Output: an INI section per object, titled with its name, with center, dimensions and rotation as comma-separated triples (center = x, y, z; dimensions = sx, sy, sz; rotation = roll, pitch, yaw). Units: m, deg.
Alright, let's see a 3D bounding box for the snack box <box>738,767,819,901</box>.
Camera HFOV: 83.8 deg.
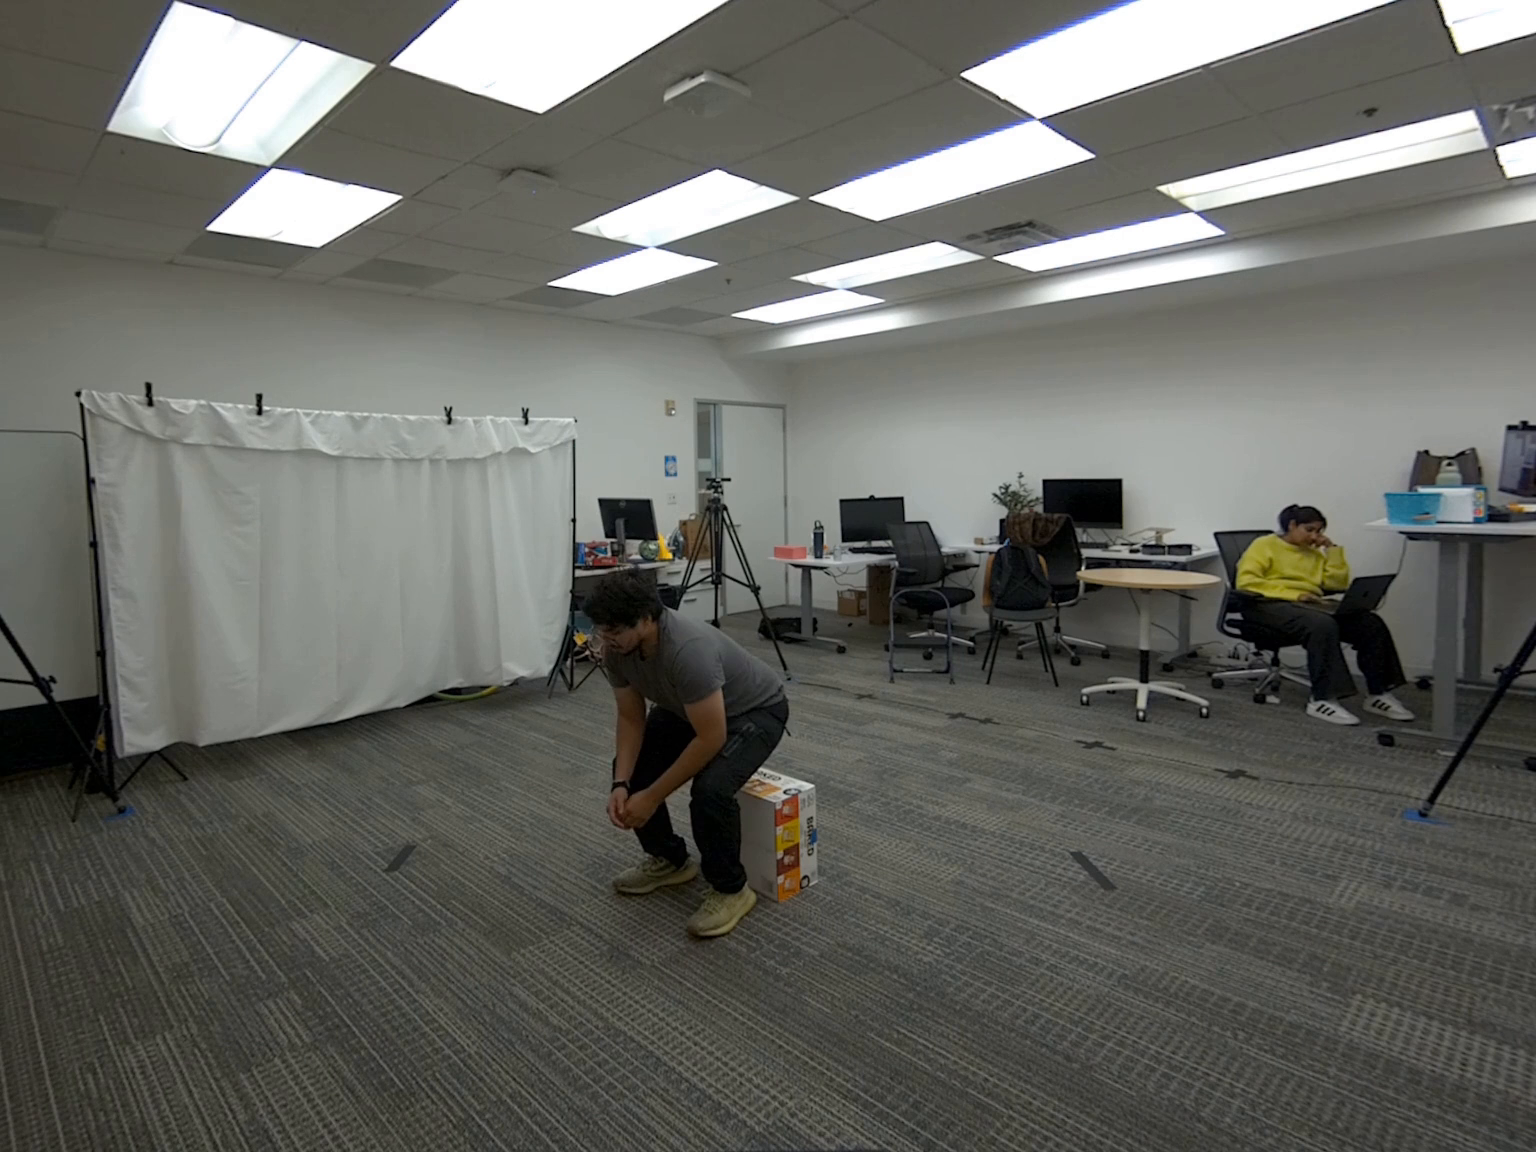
[snack box]
center = -0.042, 0.883, 3.019
dimensions = 0.200, 0.339, 0.418
rotation = -5, 7, -44
